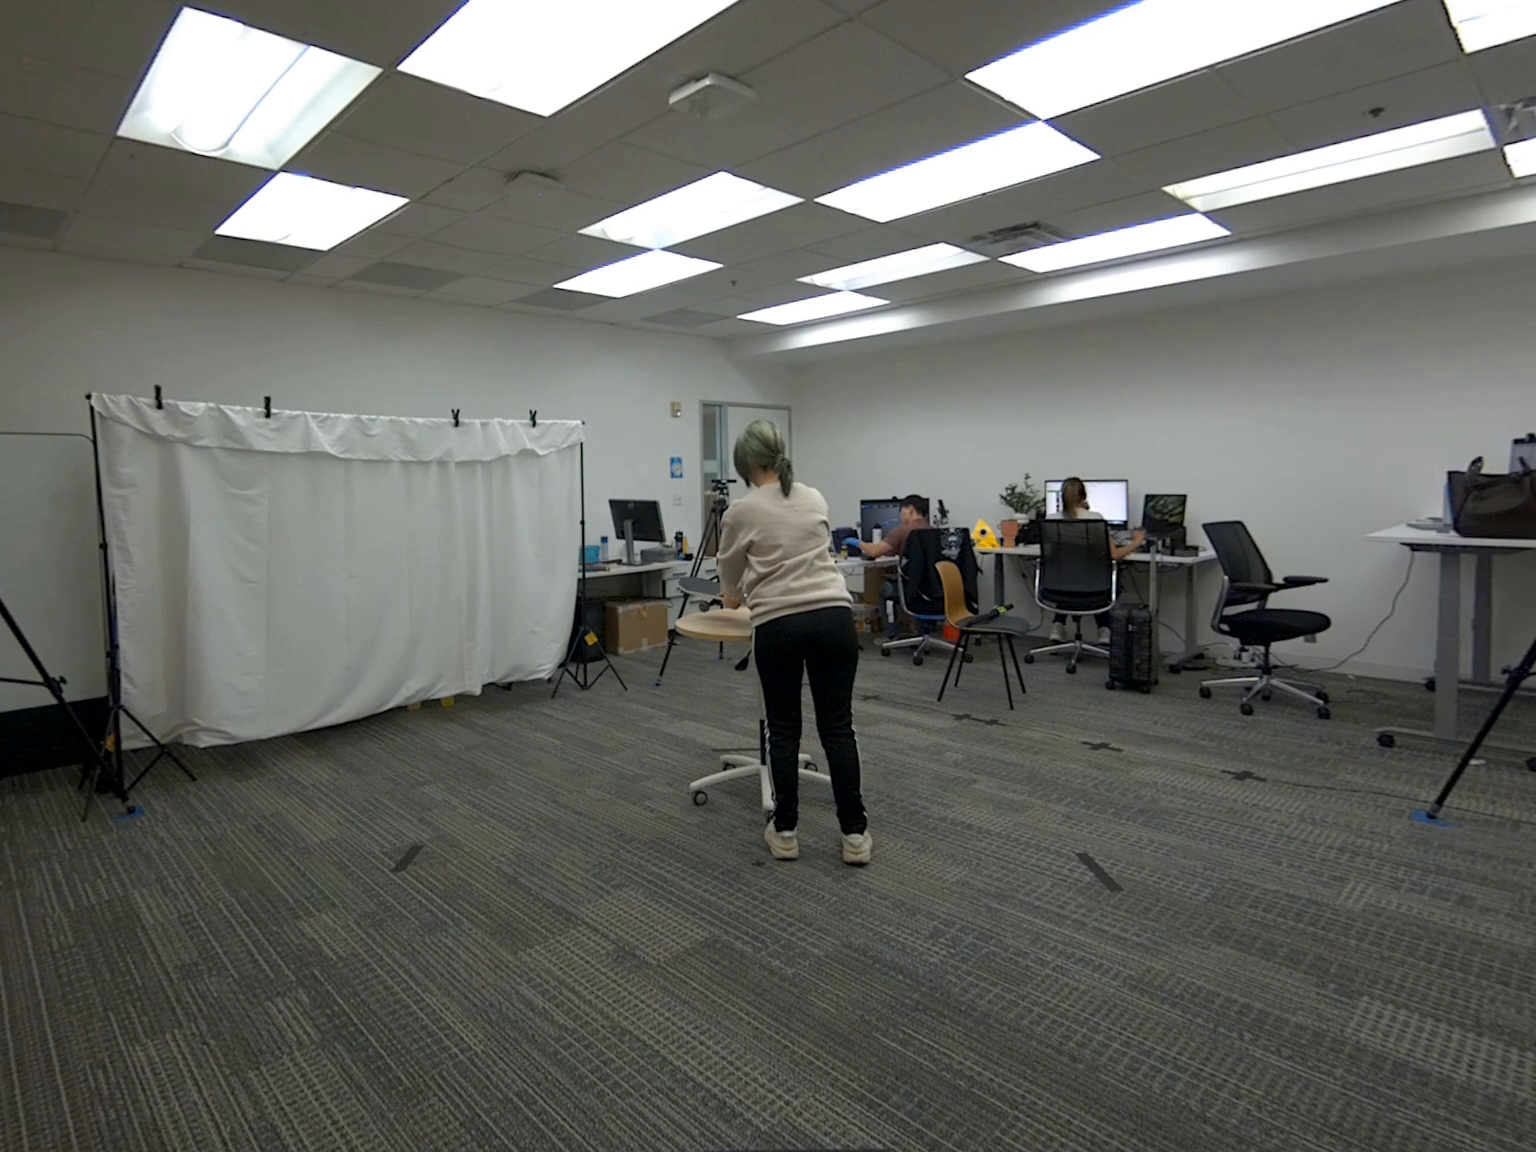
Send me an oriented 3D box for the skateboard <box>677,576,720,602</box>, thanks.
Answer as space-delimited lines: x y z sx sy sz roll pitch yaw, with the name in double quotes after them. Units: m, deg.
-0.068 0.127 3.674 0.811 0.109 0.189 11 15 39 "skateboard"
